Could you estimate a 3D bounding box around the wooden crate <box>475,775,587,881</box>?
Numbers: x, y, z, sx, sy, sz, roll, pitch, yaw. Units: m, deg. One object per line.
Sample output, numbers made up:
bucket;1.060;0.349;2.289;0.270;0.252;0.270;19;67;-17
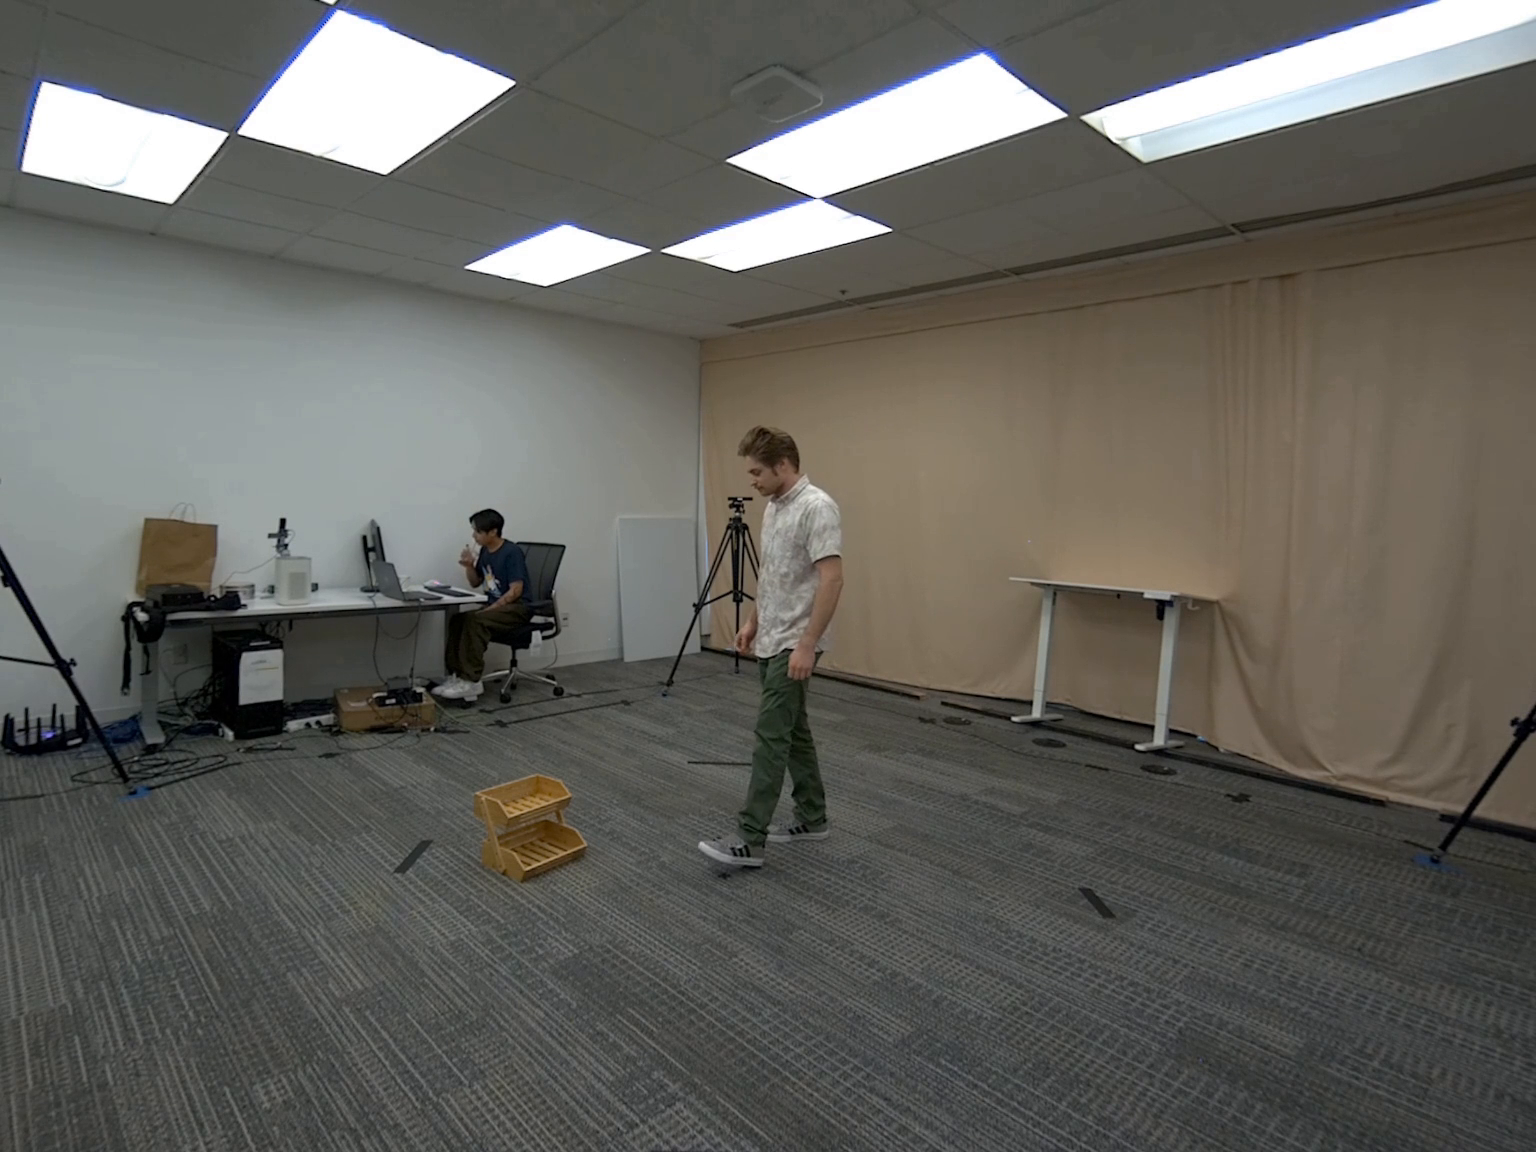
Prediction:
wooden crate;-0.908;0.947;3.205;0.309;0.272;0.317;4;5;37
